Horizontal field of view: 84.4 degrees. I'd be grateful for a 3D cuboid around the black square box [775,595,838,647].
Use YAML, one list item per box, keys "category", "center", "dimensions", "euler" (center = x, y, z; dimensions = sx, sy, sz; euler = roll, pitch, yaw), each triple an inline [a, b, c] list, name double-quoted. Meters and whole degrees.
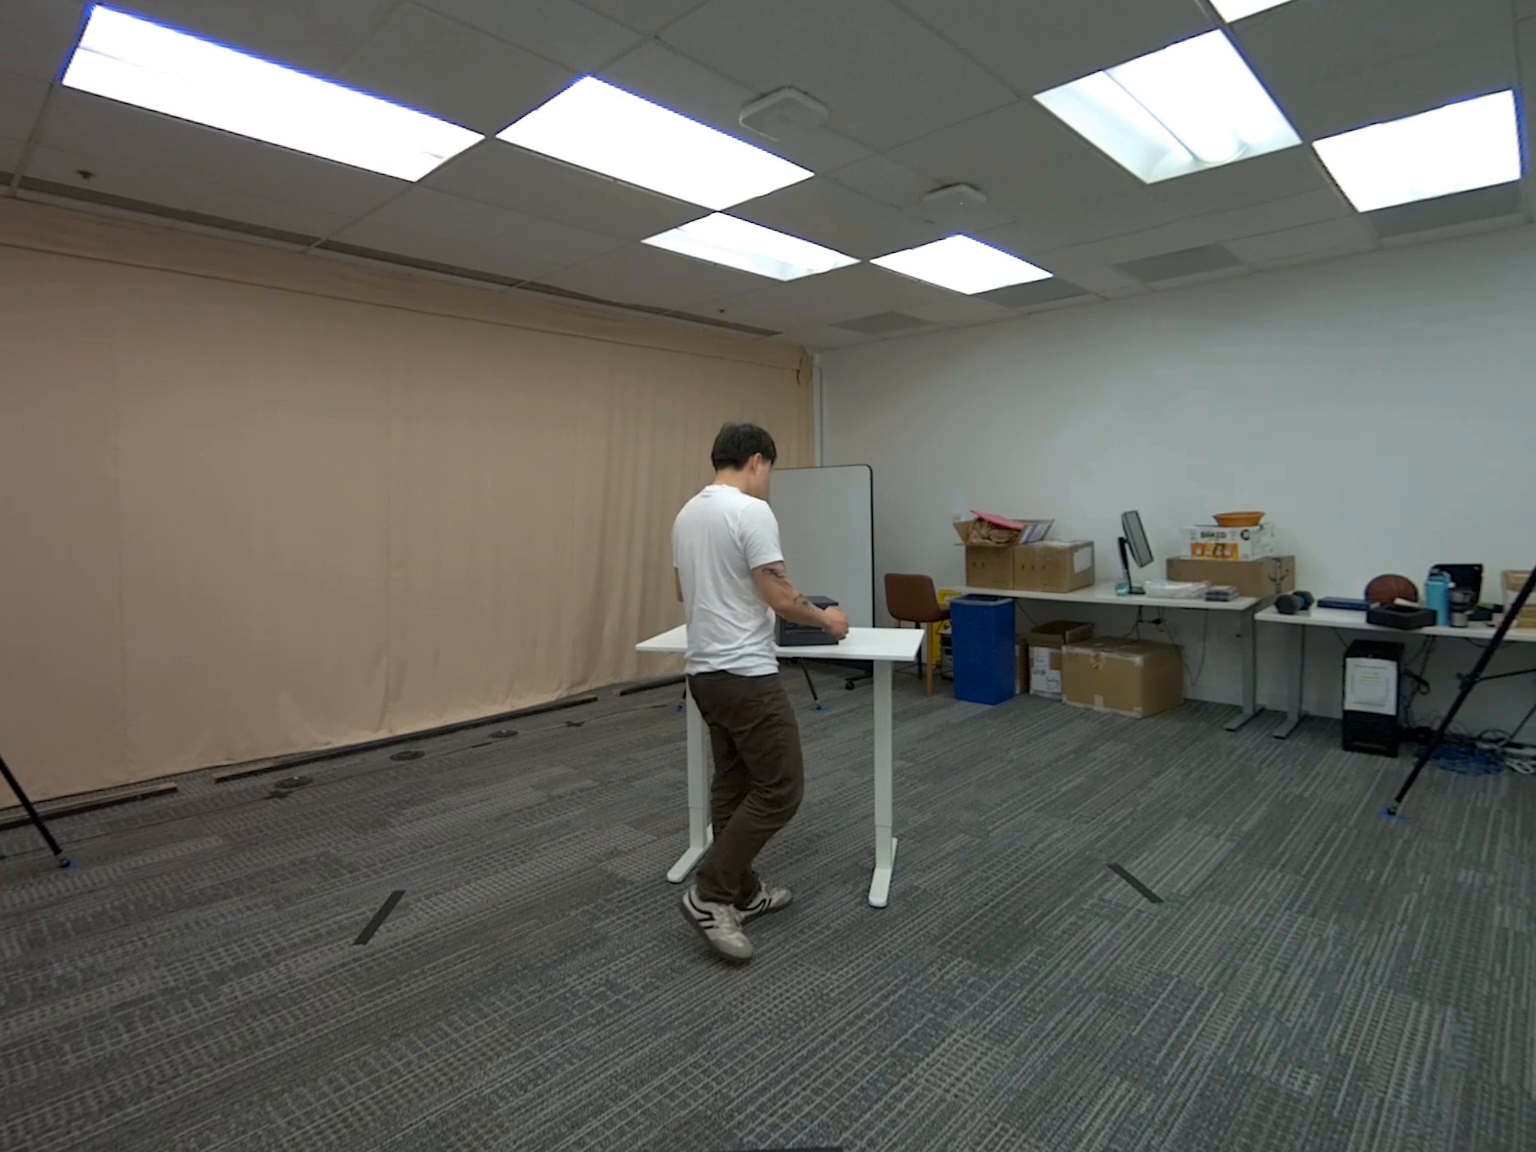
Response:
- category: "black square box"
  center: [0.143, 0.164, 3.135]
  dimensions: [0.217, 0.155, 0.228]
  euler: [-1, 4, -1]
